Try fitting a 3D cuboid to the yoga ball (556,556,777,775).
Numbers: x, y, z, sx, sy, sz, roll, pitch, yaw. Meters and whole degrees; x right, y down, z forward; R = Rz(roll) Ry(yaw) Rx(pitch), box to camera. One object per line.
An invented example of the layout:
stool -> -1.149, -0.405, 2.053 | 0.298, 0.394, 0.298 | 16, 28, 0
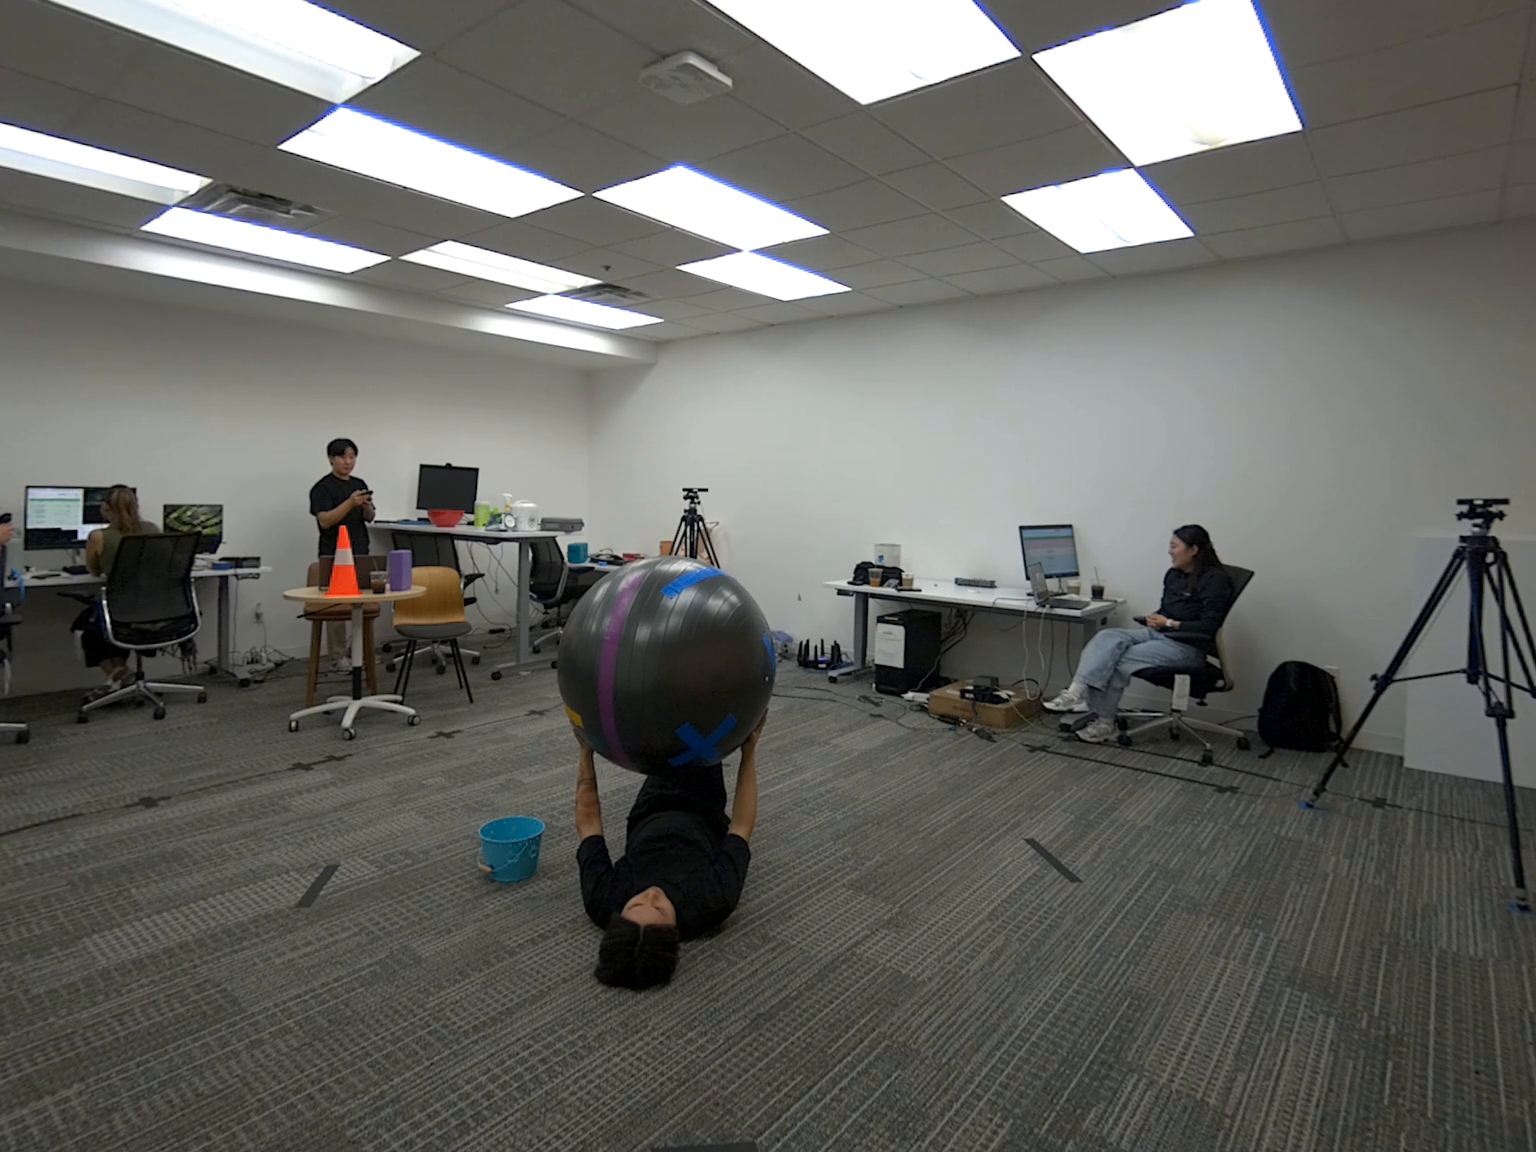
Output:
yoga ball -> -0.358, 0.313, 2.974 | 0.757, 0.755, 0.762 | 1, 4, -2
